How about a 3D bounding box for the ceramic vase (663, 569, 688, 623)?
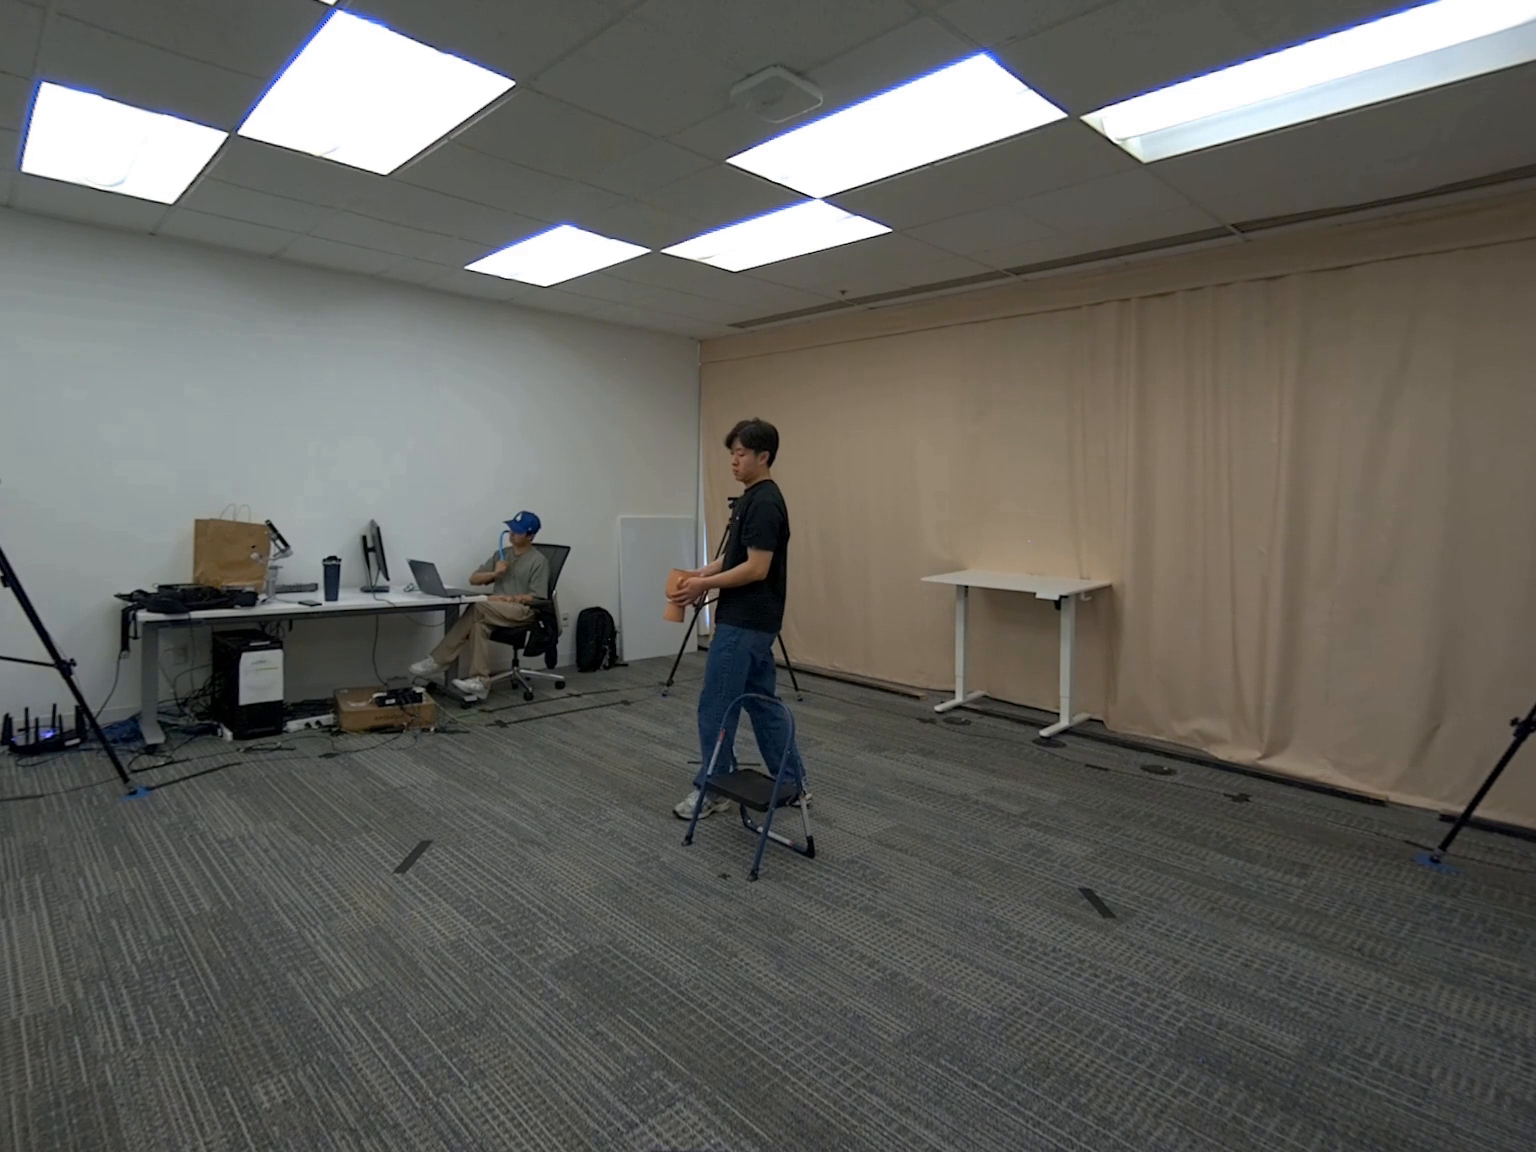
[{"bbox_3d":[-0.396,0.085,3.704,0.138,0.220,0.154,13,0,44],"label":"ceramic vase"}]
